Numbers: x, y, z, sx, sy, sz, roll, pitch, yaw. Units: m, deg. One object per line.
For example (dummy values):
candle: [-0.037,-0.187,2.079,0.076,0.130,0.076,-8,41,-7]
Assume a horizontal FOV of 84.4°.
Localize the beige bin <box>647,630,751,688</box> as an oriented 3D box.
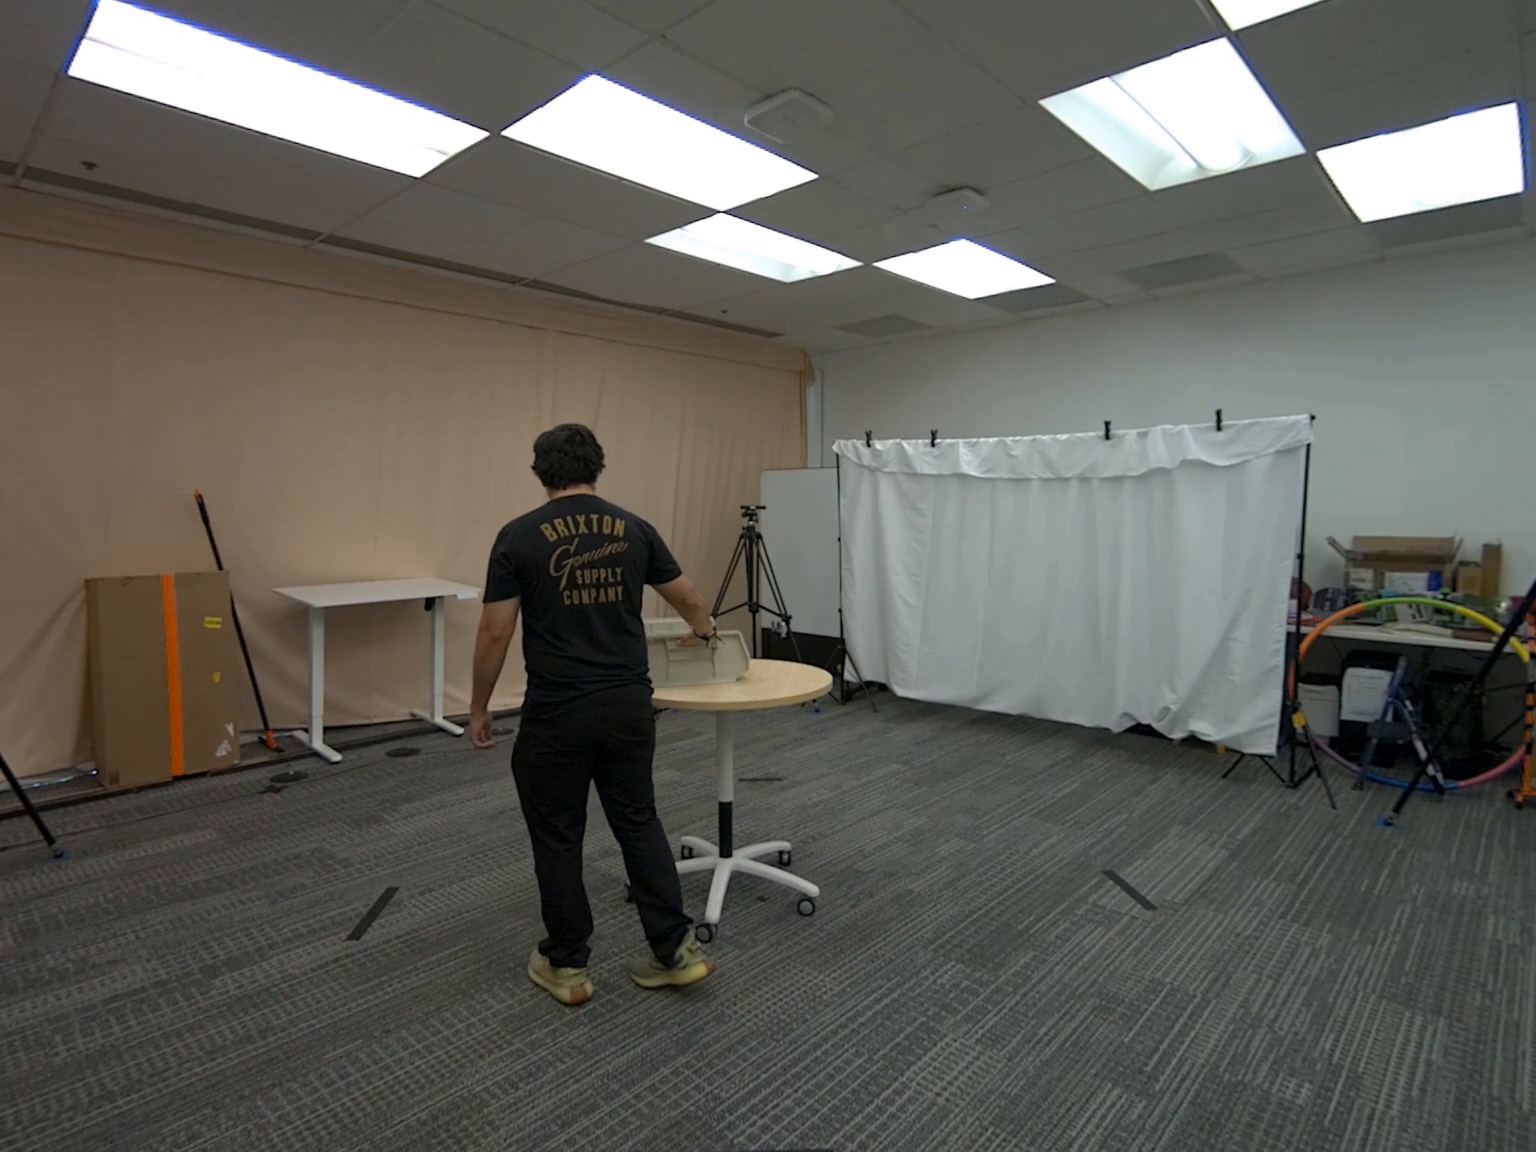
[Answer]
beige bin: [-0.298,0.266,3.056,0.372,0.188,0.430,-3,5,-16]
